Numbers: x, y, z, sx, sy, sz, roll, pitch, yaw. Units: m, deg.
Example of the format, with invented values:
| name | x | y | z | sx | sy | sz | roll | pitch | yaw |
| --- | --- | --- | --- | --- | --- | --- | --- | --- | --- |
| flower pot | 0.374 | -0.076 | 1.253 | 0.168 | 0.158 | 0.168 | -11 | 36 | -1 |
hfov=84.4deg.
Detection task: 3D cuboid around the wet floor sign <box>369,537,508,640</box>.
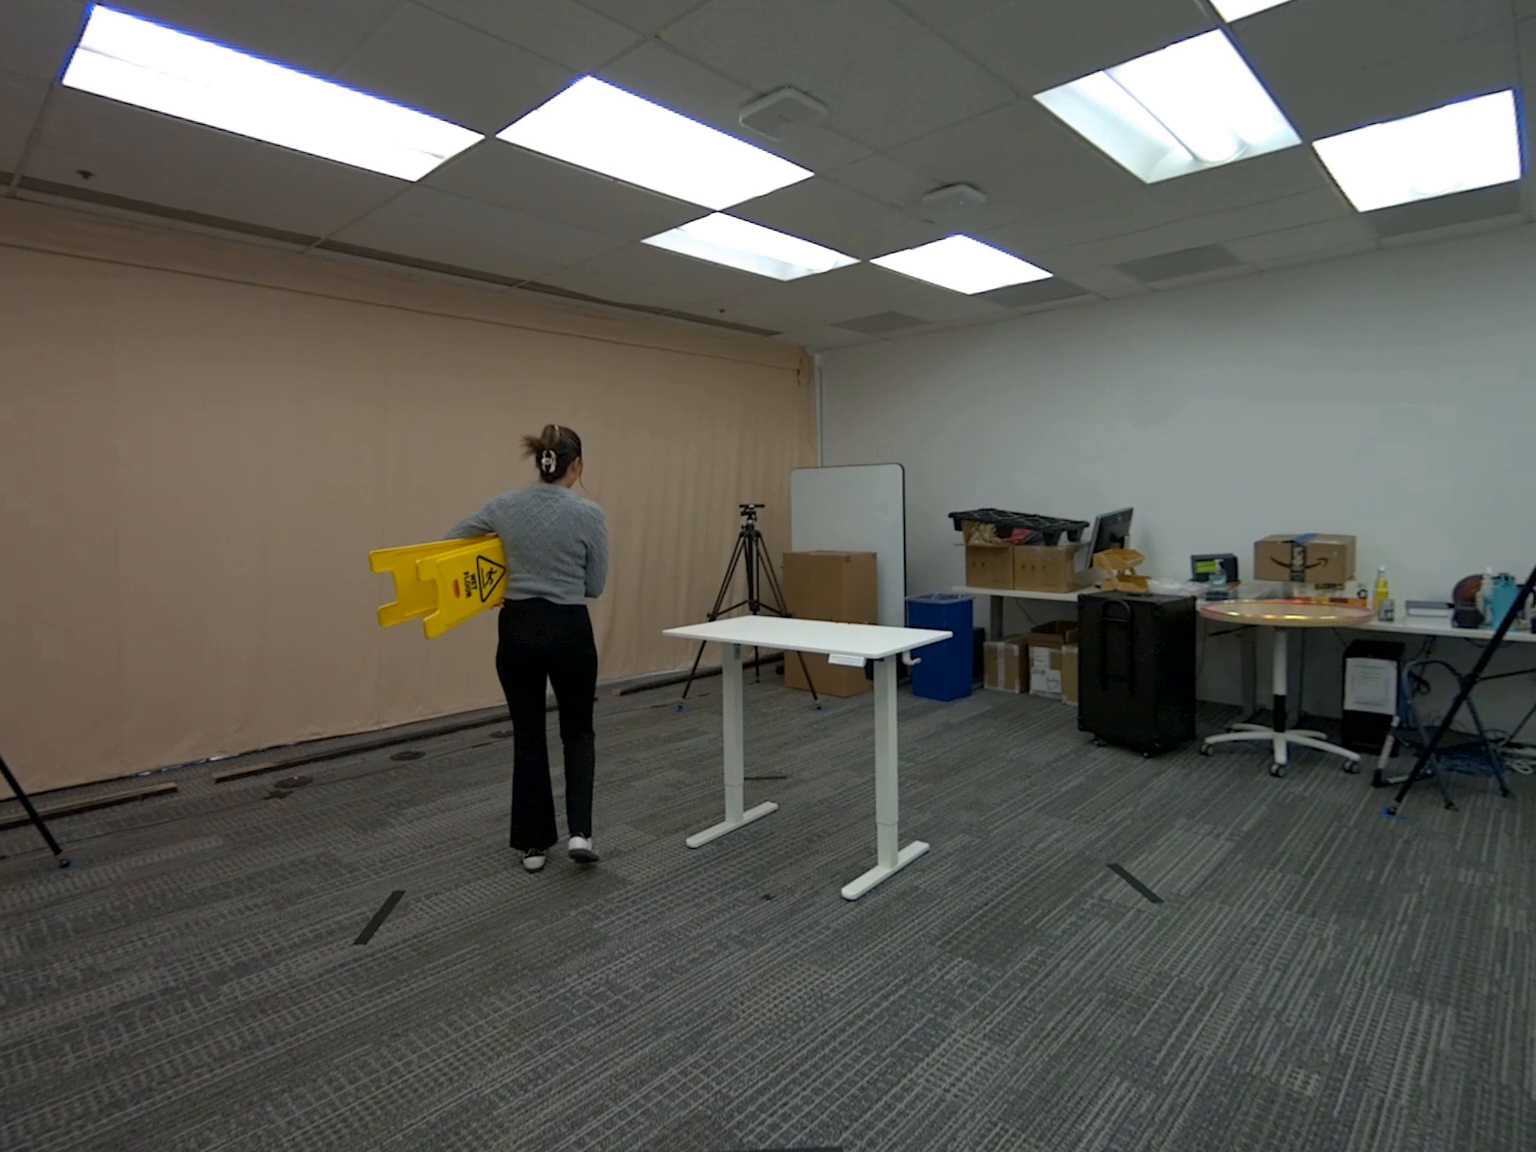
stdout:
| name | x | y | z | sx | sy | sz | roll | pitch | yaw |
| --- | --- | --- | --- | --- | --- | --- | --- | --- | --- |
| wet floor sign | -1.110 | -0.005 | 3.163 | 0.299 | 0.279 | 0.632 | 5 | 17 | 32 |
